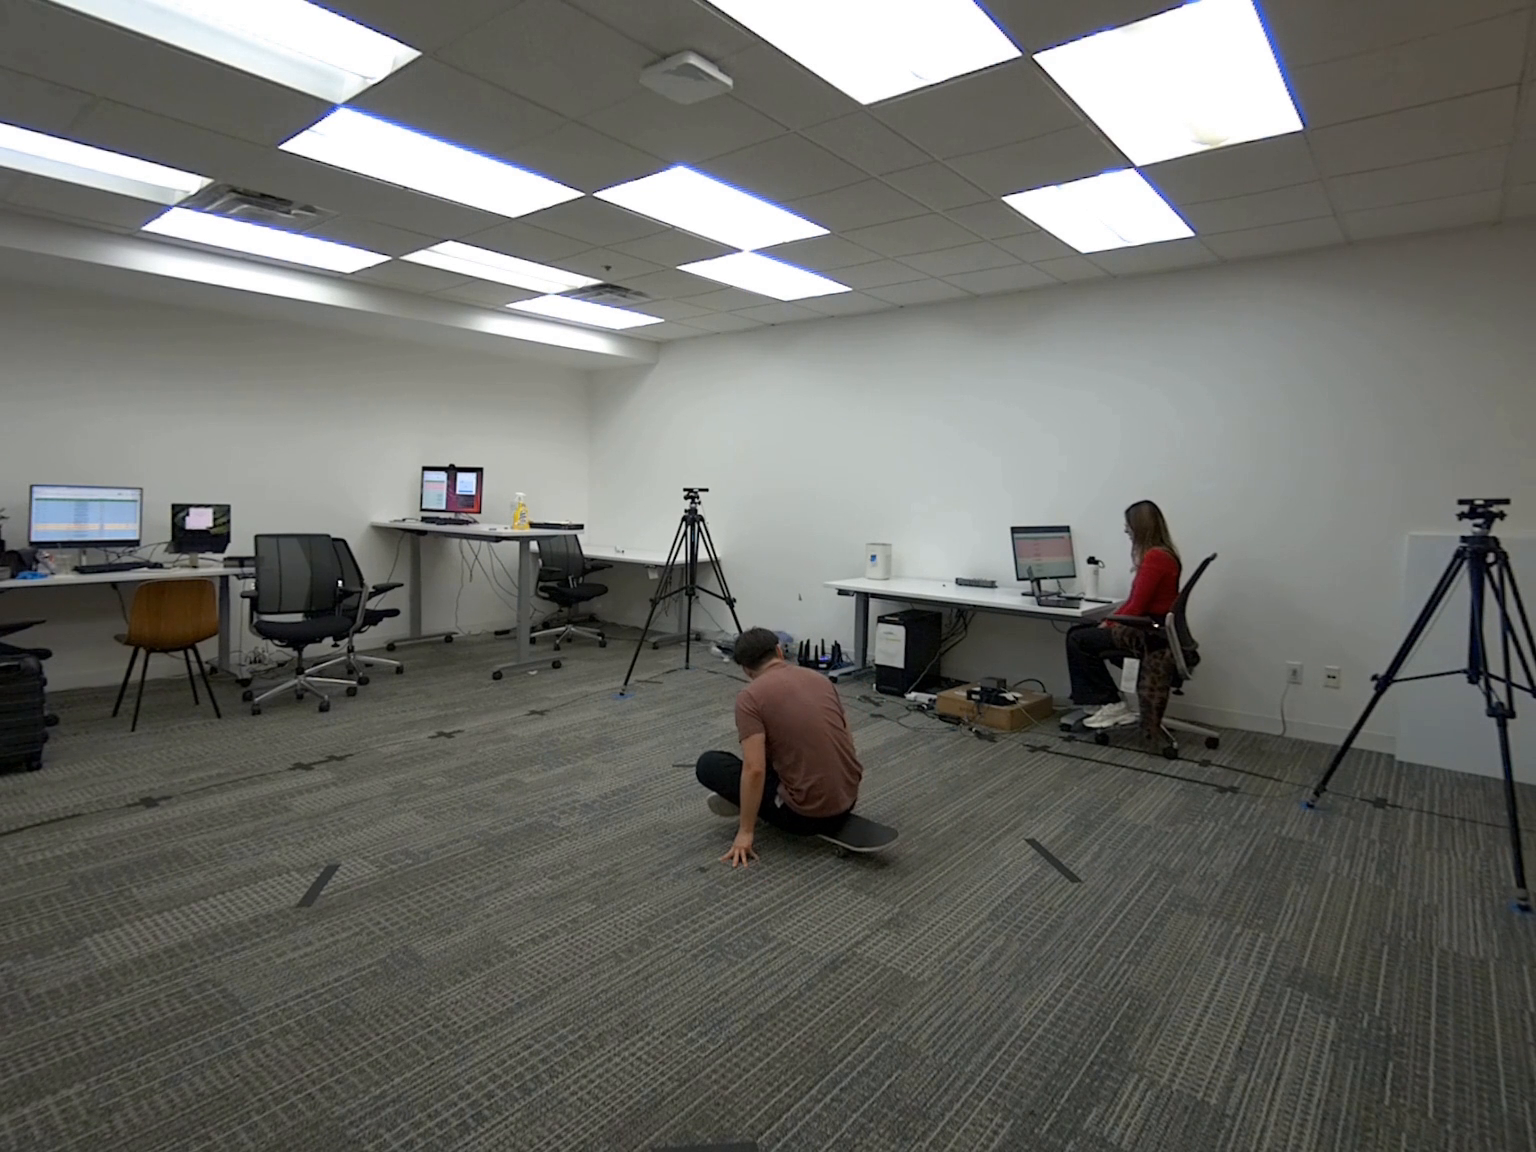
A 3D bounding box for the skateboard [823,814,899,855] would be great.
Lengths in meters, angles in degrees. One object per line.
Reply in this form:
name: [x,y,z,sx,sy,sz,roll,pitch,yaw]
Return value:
skateboard: [0.193,0.990,3.452,0.189,0.109,0.813,-16,17,-38]
